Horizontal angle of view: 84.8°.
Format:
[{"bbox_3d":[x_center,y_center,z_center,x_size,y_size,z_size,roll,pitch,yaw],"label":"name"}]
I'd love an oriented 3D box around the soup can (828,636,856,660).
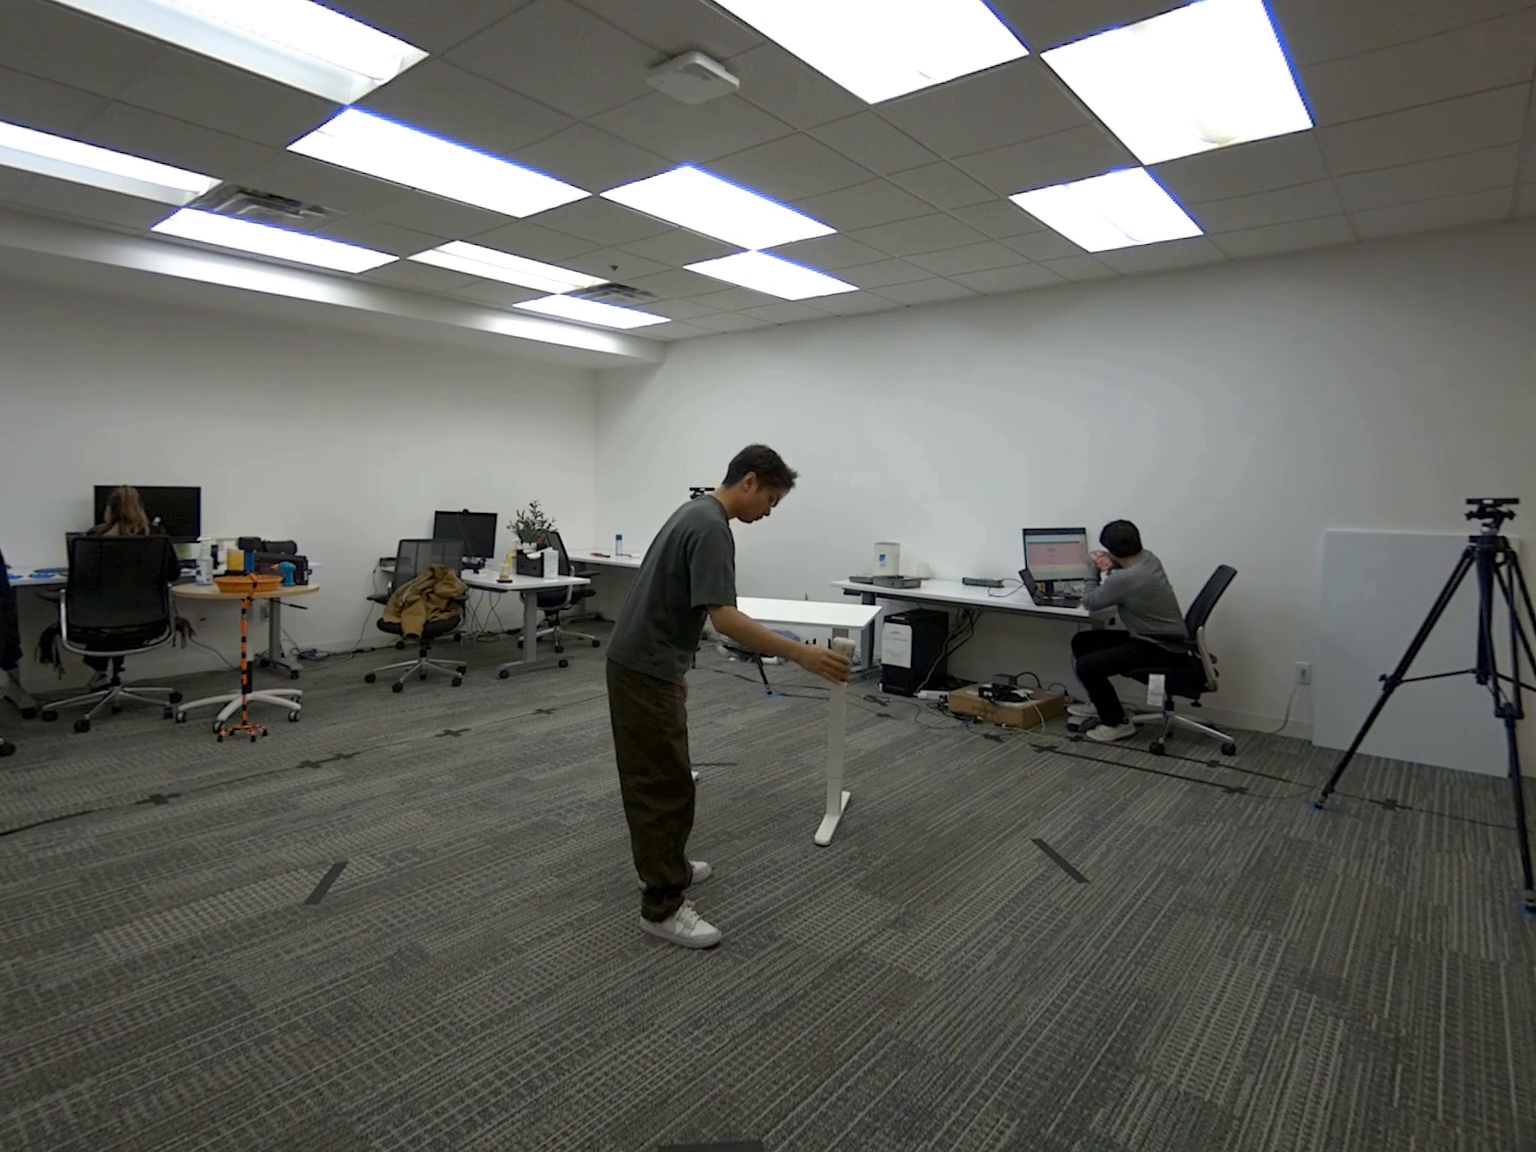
[{"bbox_3d":[0.208,0.215,2.505,0.067,0.121,0.067,7,3,-2],"label":"soup can"}]
